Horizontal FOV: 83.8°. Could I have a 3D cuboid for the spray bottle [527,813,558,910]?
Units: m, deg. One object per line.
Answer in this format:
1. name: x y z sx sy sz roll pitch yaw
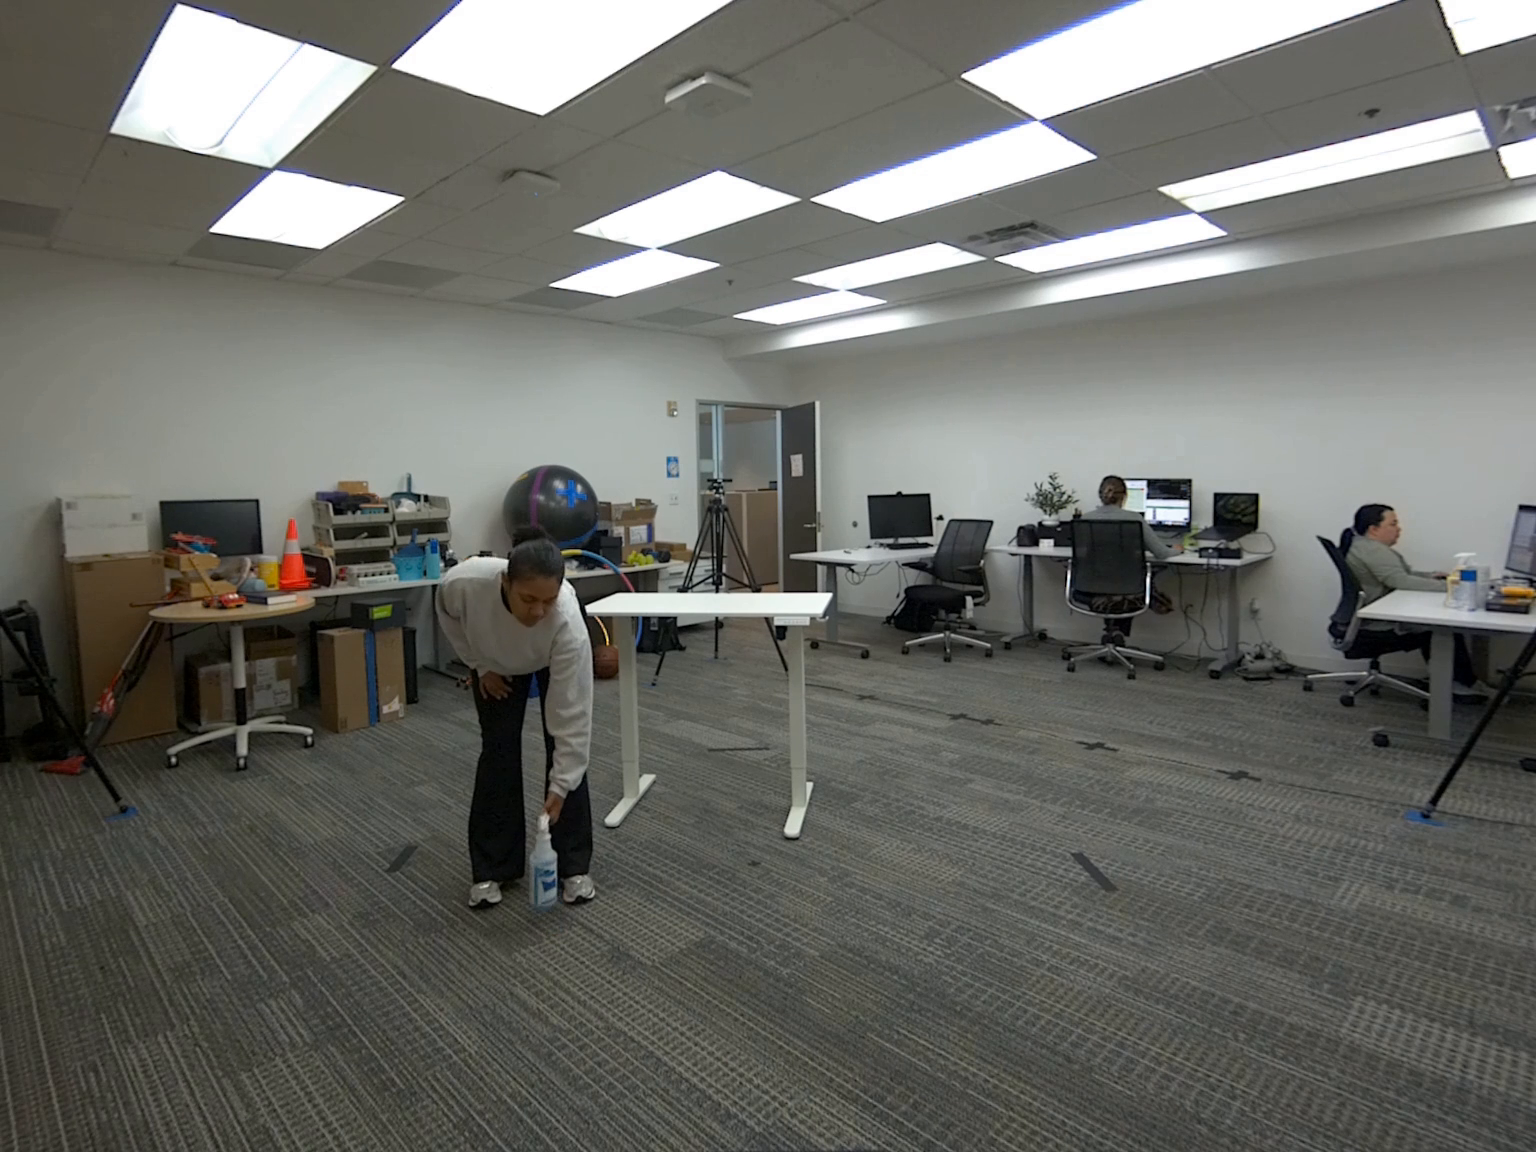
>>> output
1. spray bottle: -0.708 0.887 2.689 0.088 0.296 0.089 2 5 16
